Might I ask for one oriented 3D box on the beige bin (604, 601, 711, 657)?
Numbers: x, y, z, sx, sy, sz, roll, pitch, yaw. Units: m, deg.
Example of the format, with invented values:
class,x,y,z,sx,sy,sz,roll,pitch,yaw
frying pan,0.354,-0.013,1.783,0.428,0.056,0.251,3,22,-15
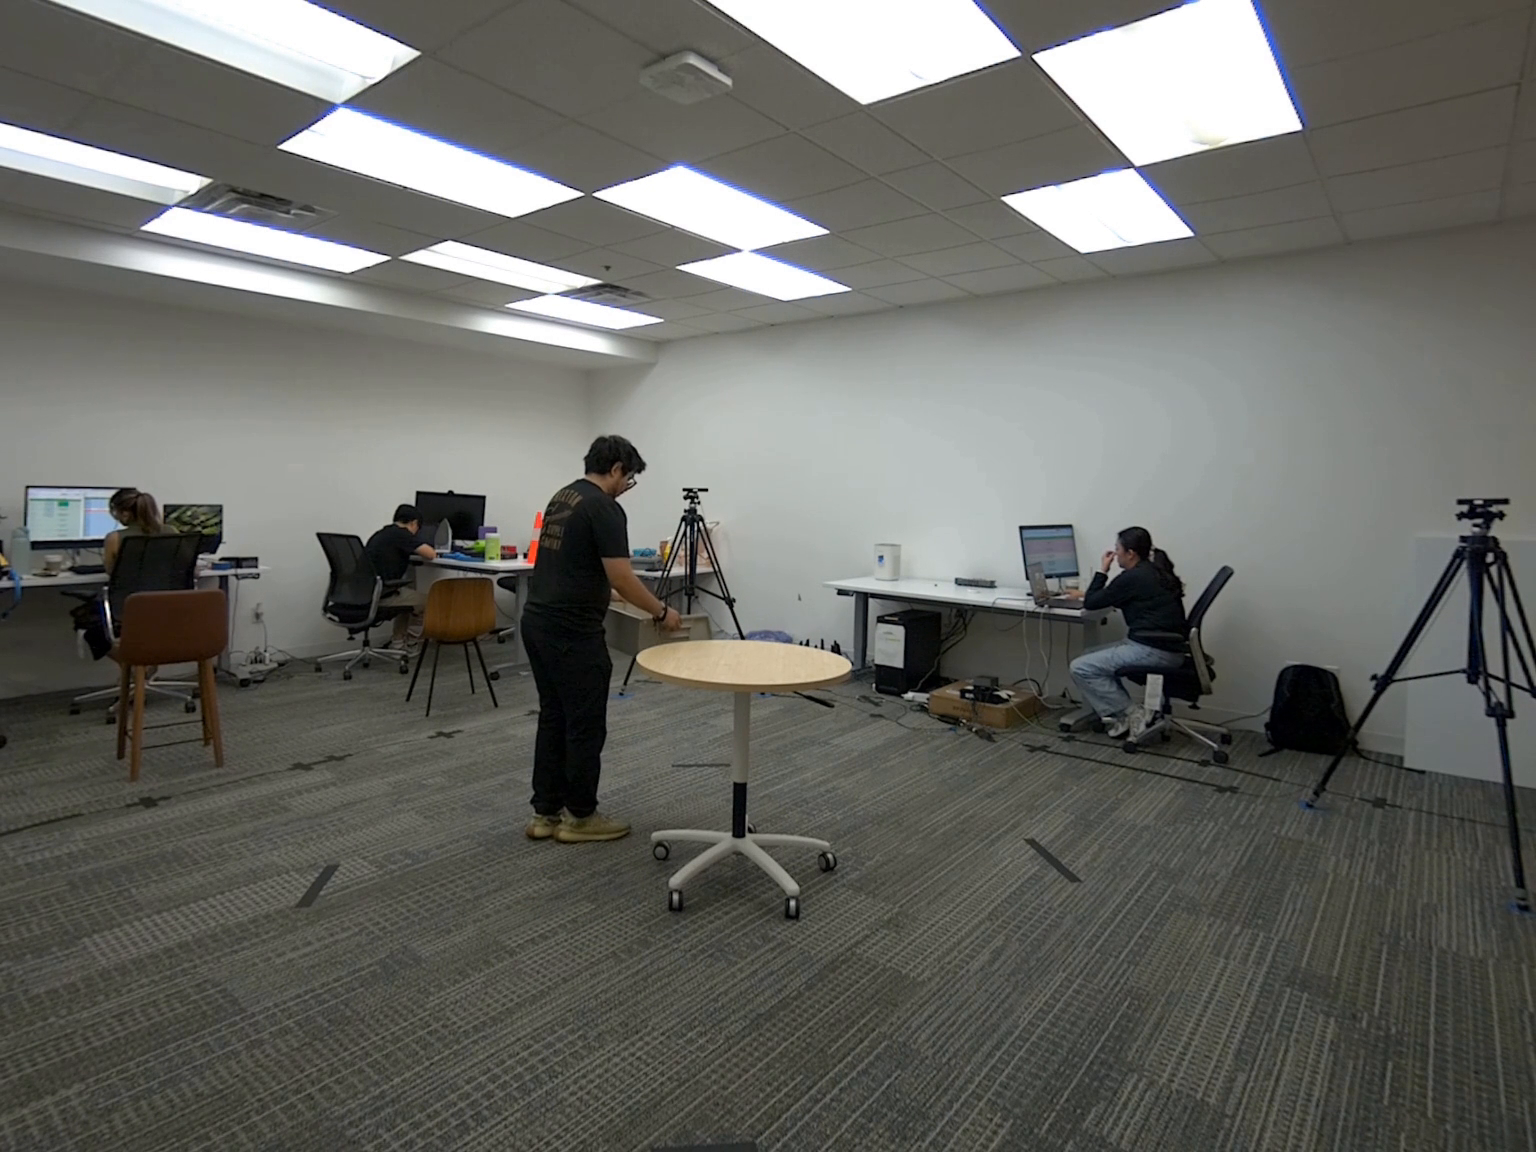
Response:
class,x,y,z,sx,sy,sz,roll,pitch,yaw
beige bin,-0.522,0.216,3.667,0.366,0.188,0.438,-4,11,-40
